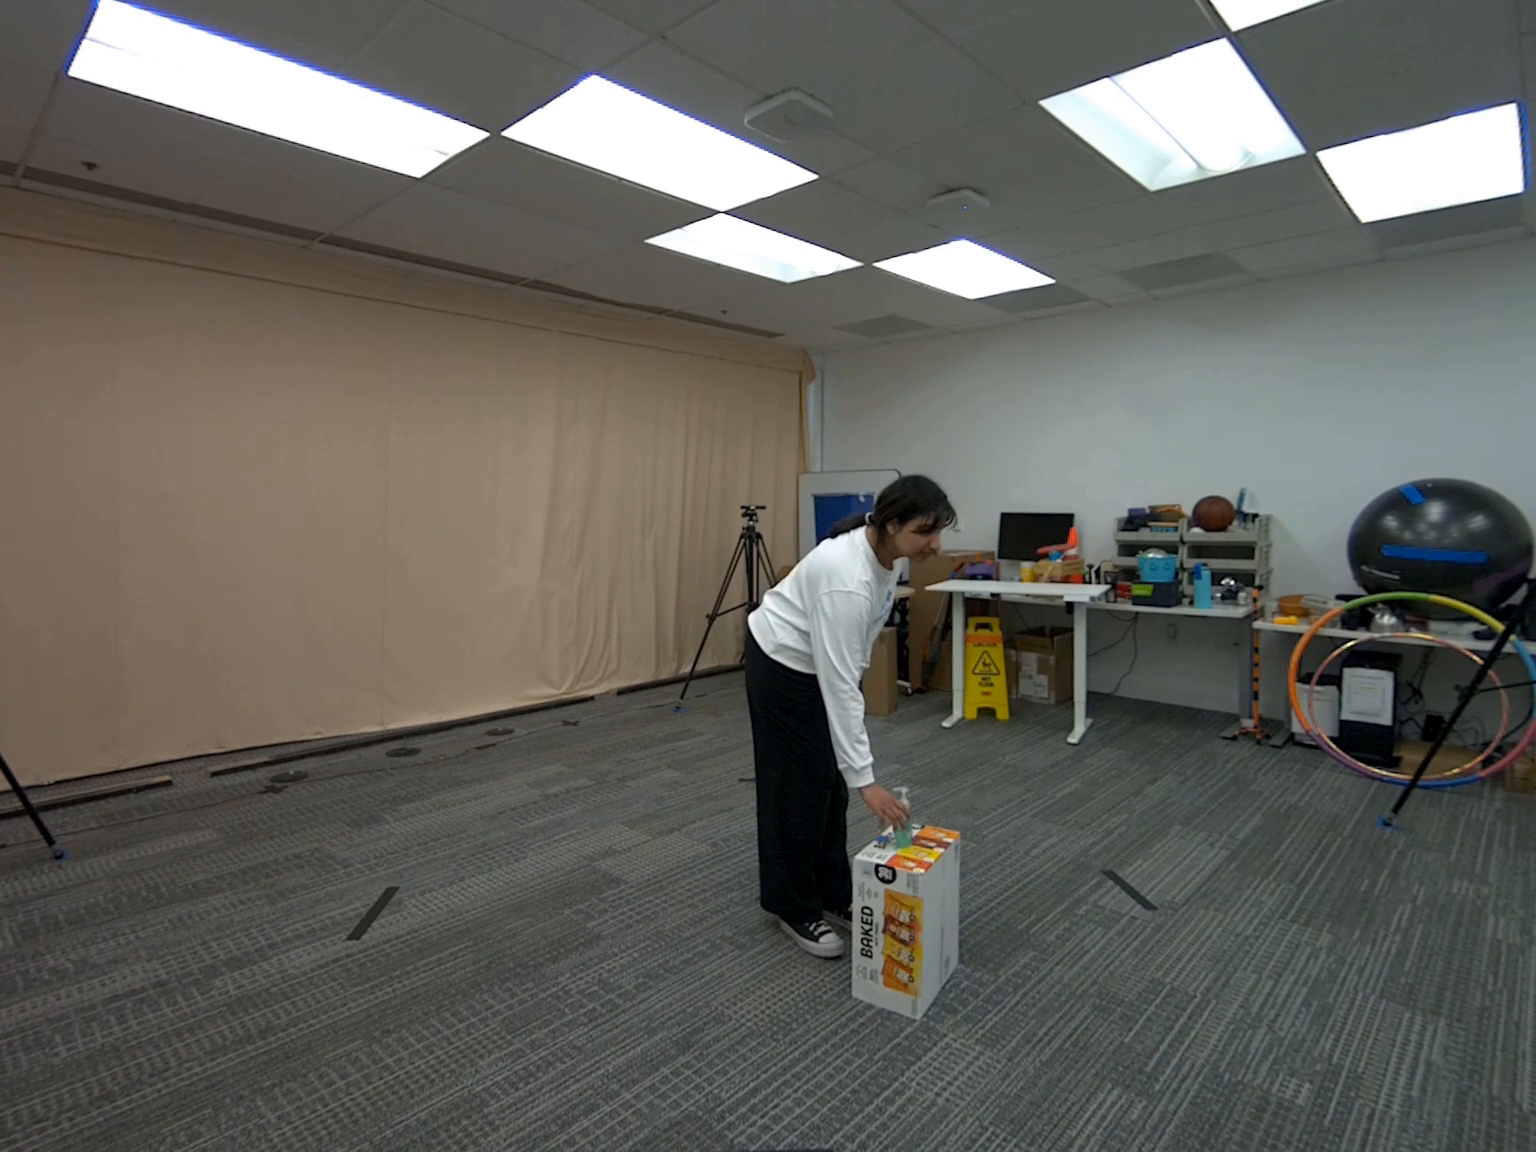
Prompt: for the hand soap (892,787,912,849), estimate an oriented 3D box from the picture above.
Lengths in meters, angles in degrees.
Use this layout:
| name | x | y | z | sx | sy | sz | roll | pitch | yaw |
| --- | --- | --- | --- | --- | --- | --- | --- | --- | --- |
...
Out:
| name | x | y | z | sx | sy | sz | roll | pitch | yaw |
| --- | --- | --- | --- | --- | --- | --- | --- | --- | --- |
| hand soap | 0.388 | 0.698 | 2.451 | 0.044 | 0.168 | 0.082 | -3 | -1 | 33 |
